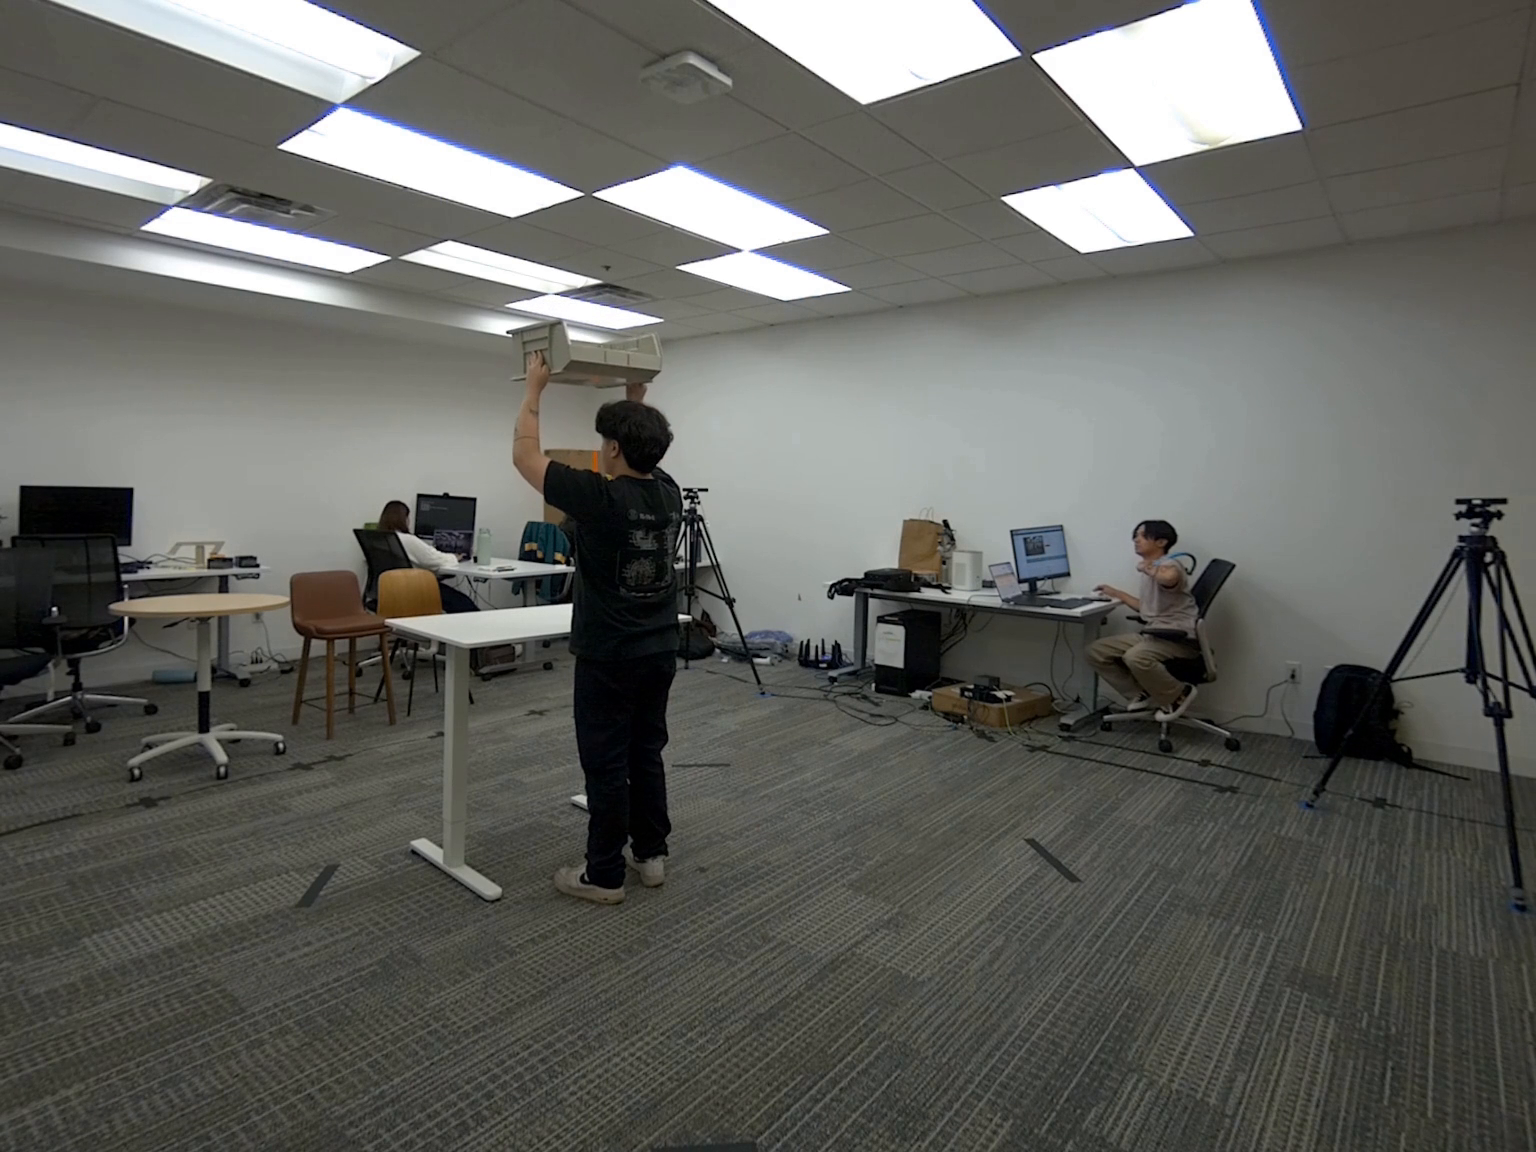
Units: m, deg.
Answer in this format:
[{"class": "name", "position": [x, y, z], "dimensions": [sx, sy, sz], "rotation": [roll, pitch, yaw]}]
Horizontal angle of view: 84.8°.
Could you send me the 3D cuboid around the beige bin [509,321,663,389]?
[{"class": "beige bin", "position": [-0.668, -0.797, 3.067], "dimensions": [0.390, 0.188, 0.410], "rotation": [5, 8, 43]}]
